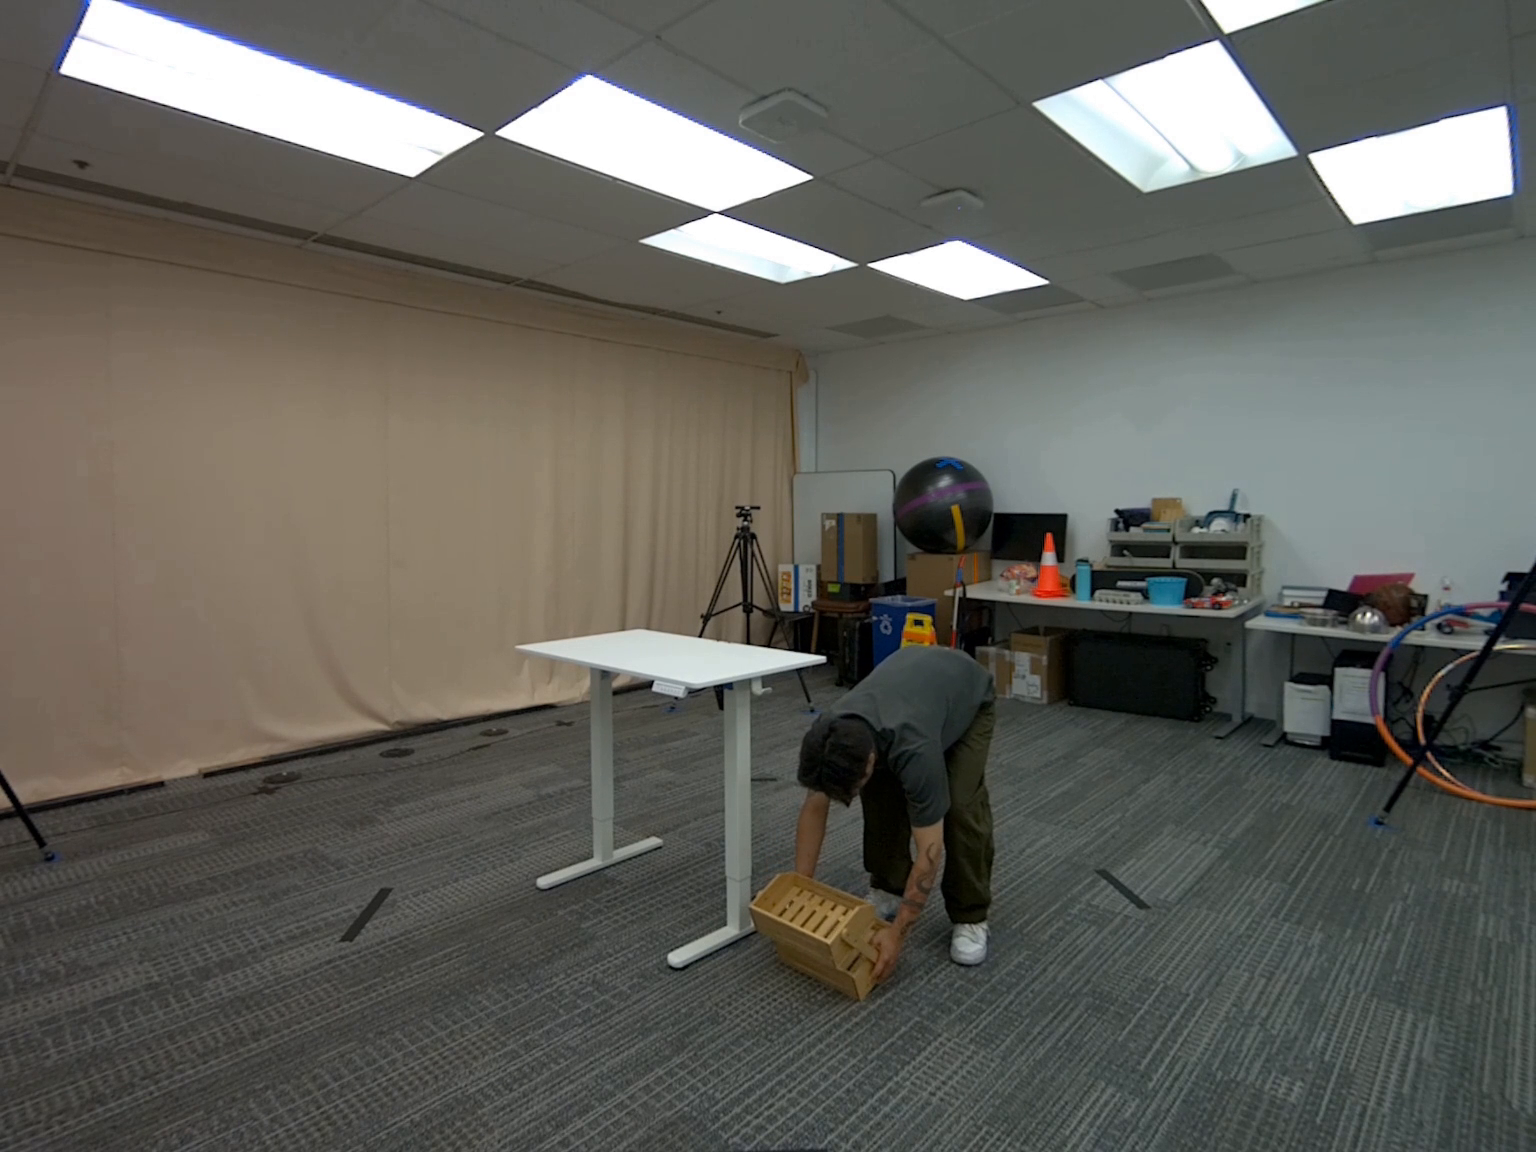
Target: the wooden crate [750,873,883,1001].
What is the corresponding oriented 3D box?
[{"bbox_3d":[0.184,1.028,2.486,0.335,0.269,0.297,2,26,44],"label":"wooden crate"}]
